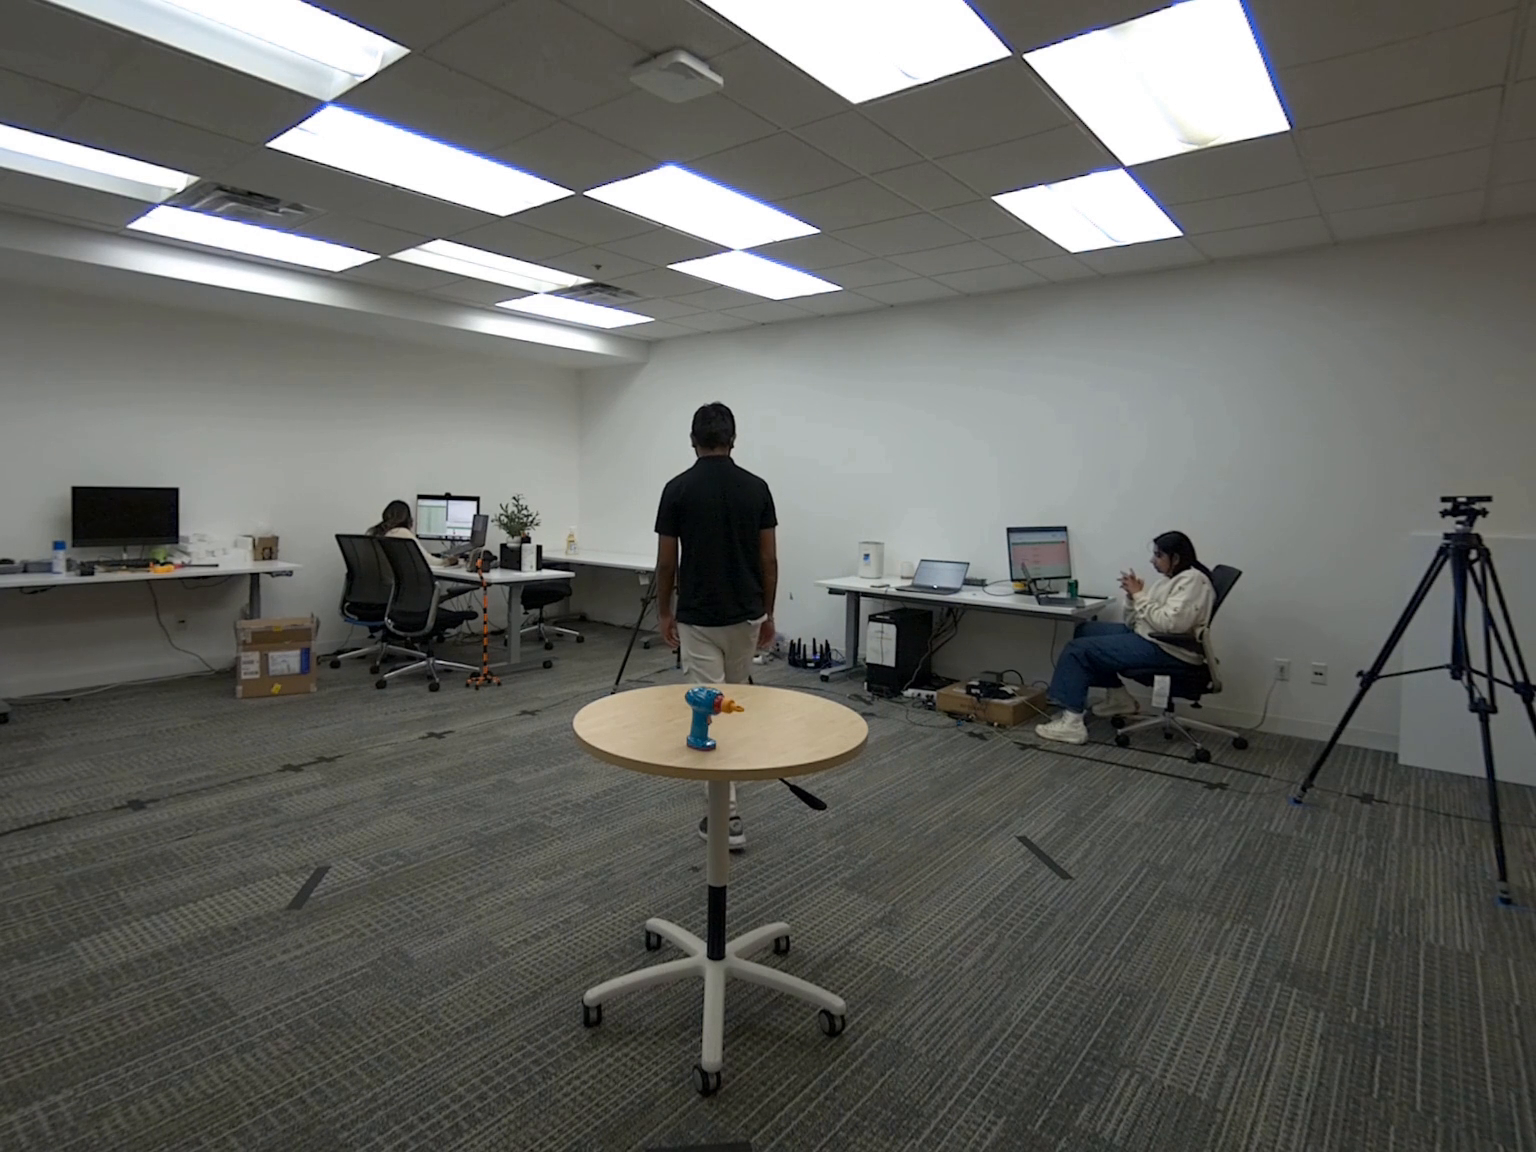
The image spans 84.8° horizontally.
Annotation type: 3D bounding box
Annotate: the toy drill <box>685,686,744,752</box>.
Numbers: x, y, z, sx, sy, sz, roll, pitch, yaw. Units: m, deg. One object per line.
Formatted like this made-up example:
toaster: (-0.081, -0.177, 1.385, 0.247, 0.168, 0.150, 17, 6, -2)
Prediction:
toy drill: (-0.124, 0.332, 1.981, 0.175, 0.145, 0.059, 8, 6, 33)
